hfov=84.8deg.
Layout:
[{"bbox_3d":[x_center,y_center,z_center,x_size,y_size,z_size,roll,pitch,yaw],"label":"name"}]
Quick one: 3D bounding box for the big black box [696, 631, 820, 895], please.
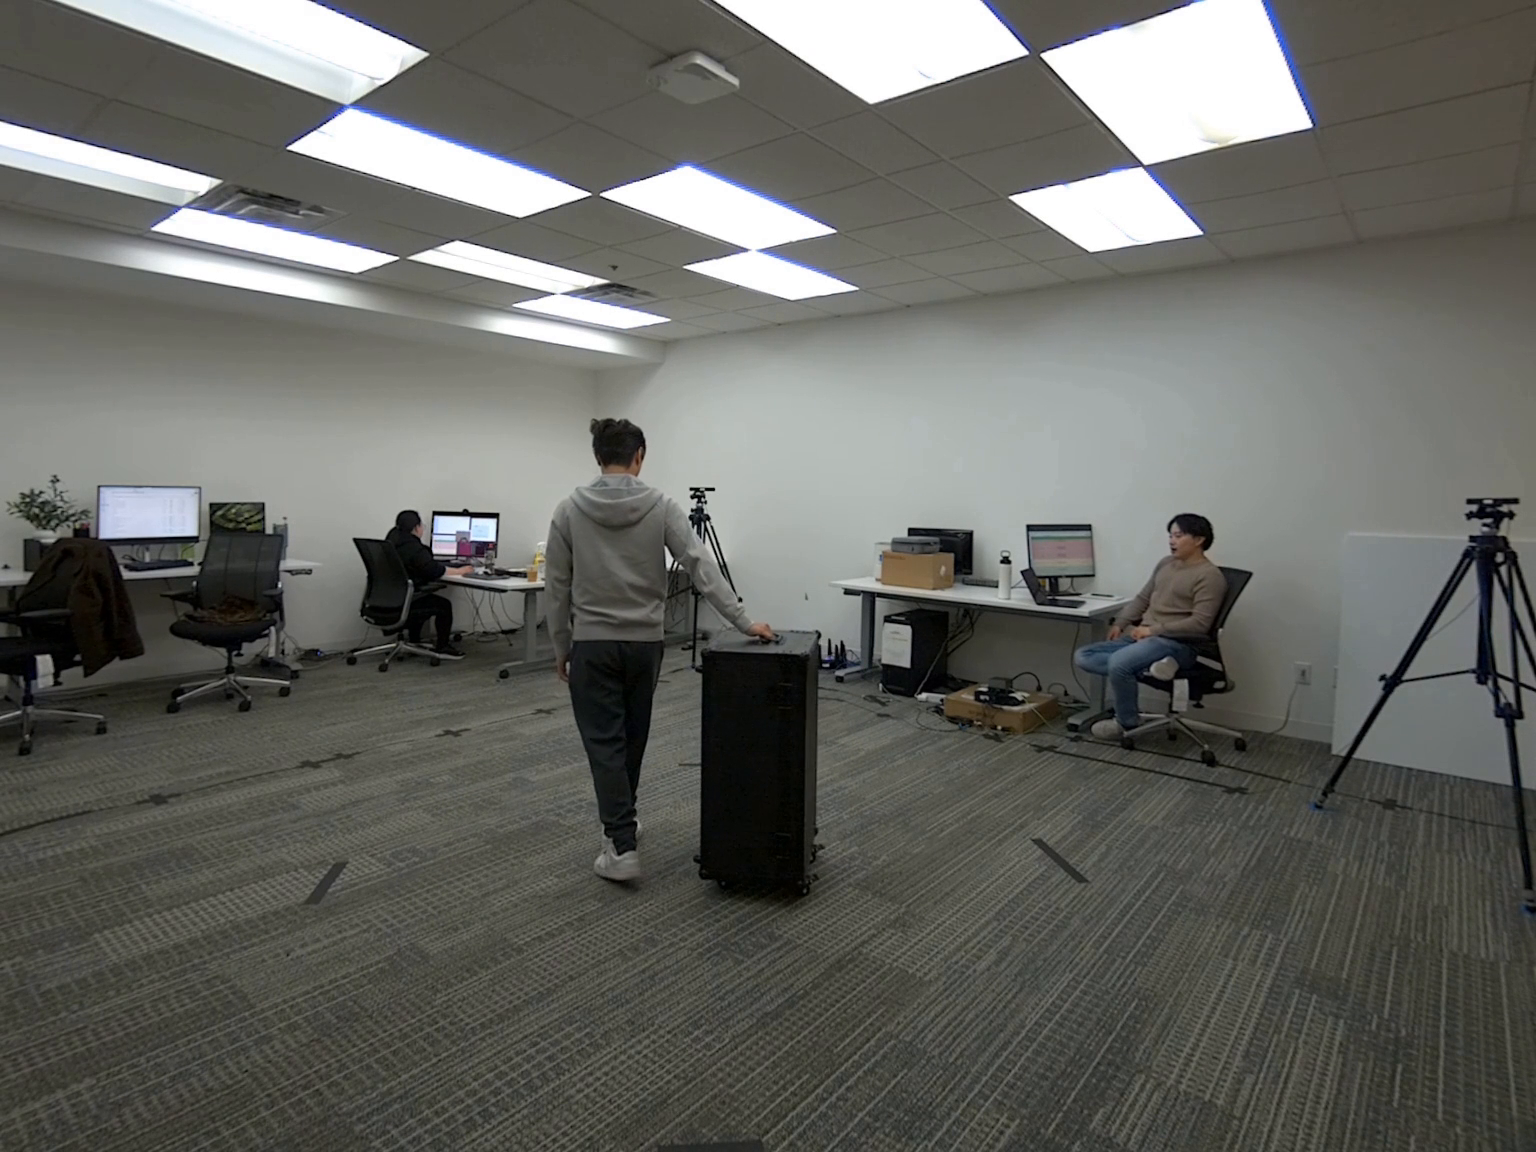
[{"bbox_3d":[-0.037,0.654,3.048,0.401,0.859,0.516,0,3,10],"label":"big black box"}]
